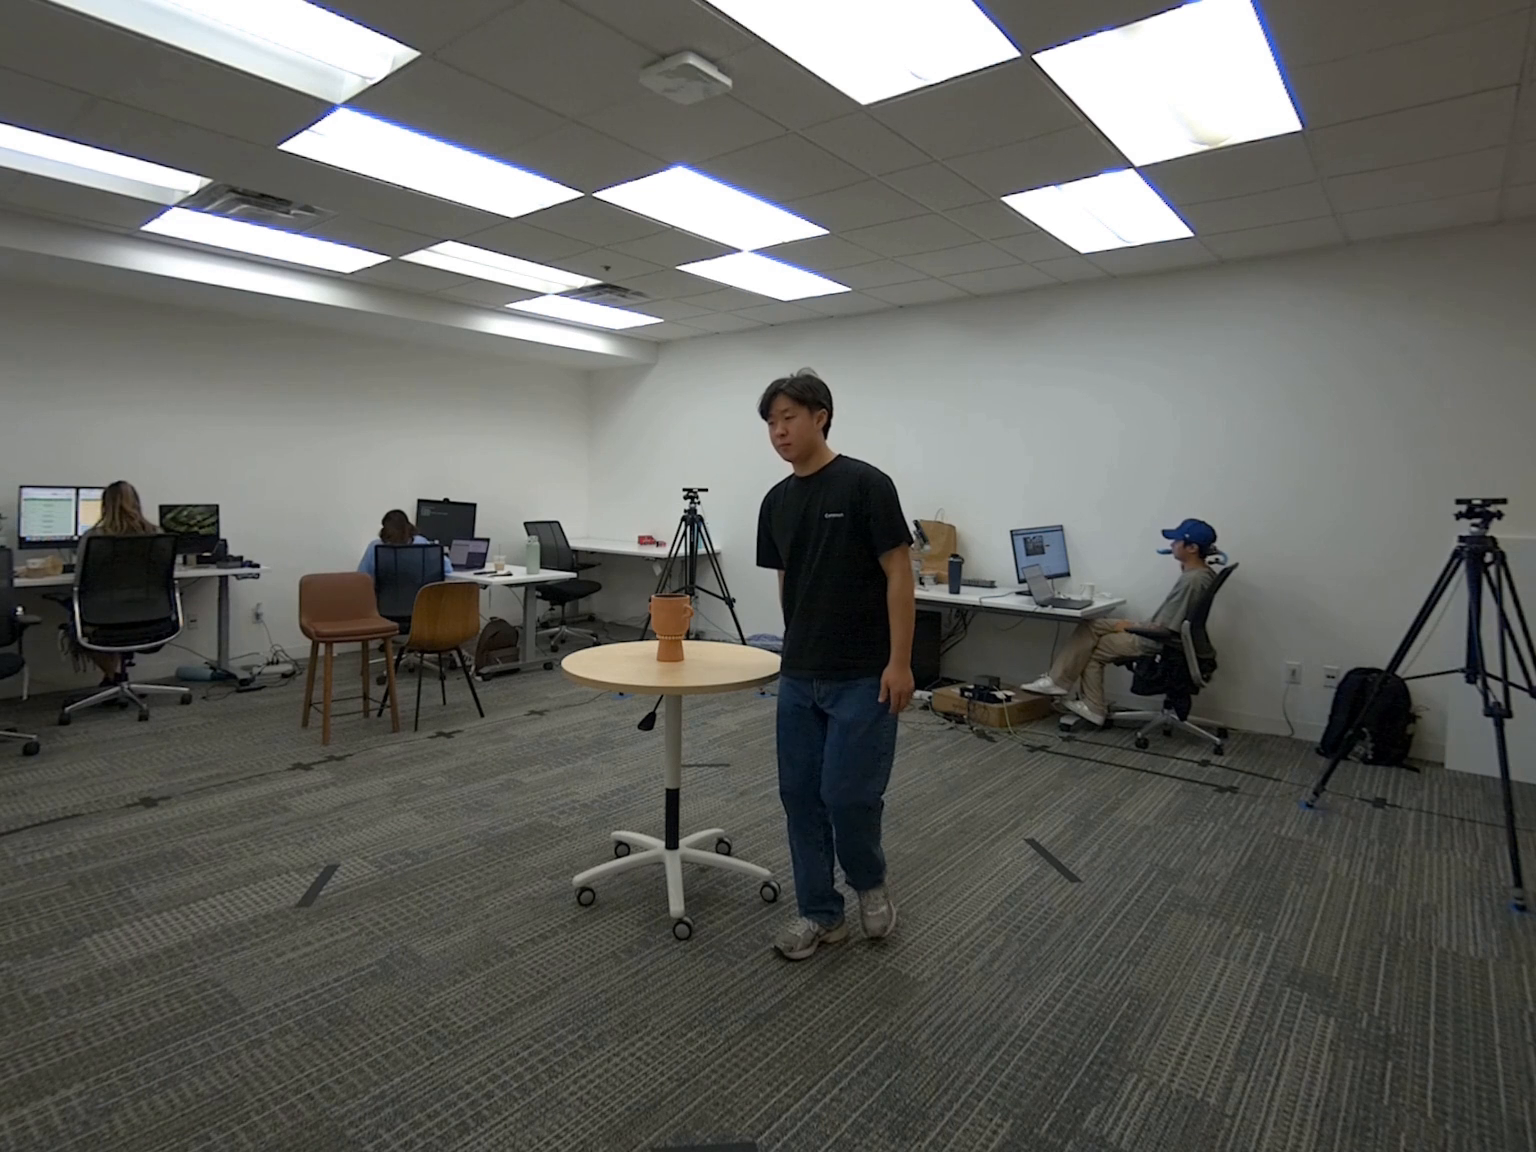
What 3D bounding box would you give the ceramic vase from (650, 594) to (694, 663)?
[{"bbox_3d":[-0.350,0.178,2.943,0.132,0.219,0.162,-1,5,-17],"label":"ceramic vase"}]
